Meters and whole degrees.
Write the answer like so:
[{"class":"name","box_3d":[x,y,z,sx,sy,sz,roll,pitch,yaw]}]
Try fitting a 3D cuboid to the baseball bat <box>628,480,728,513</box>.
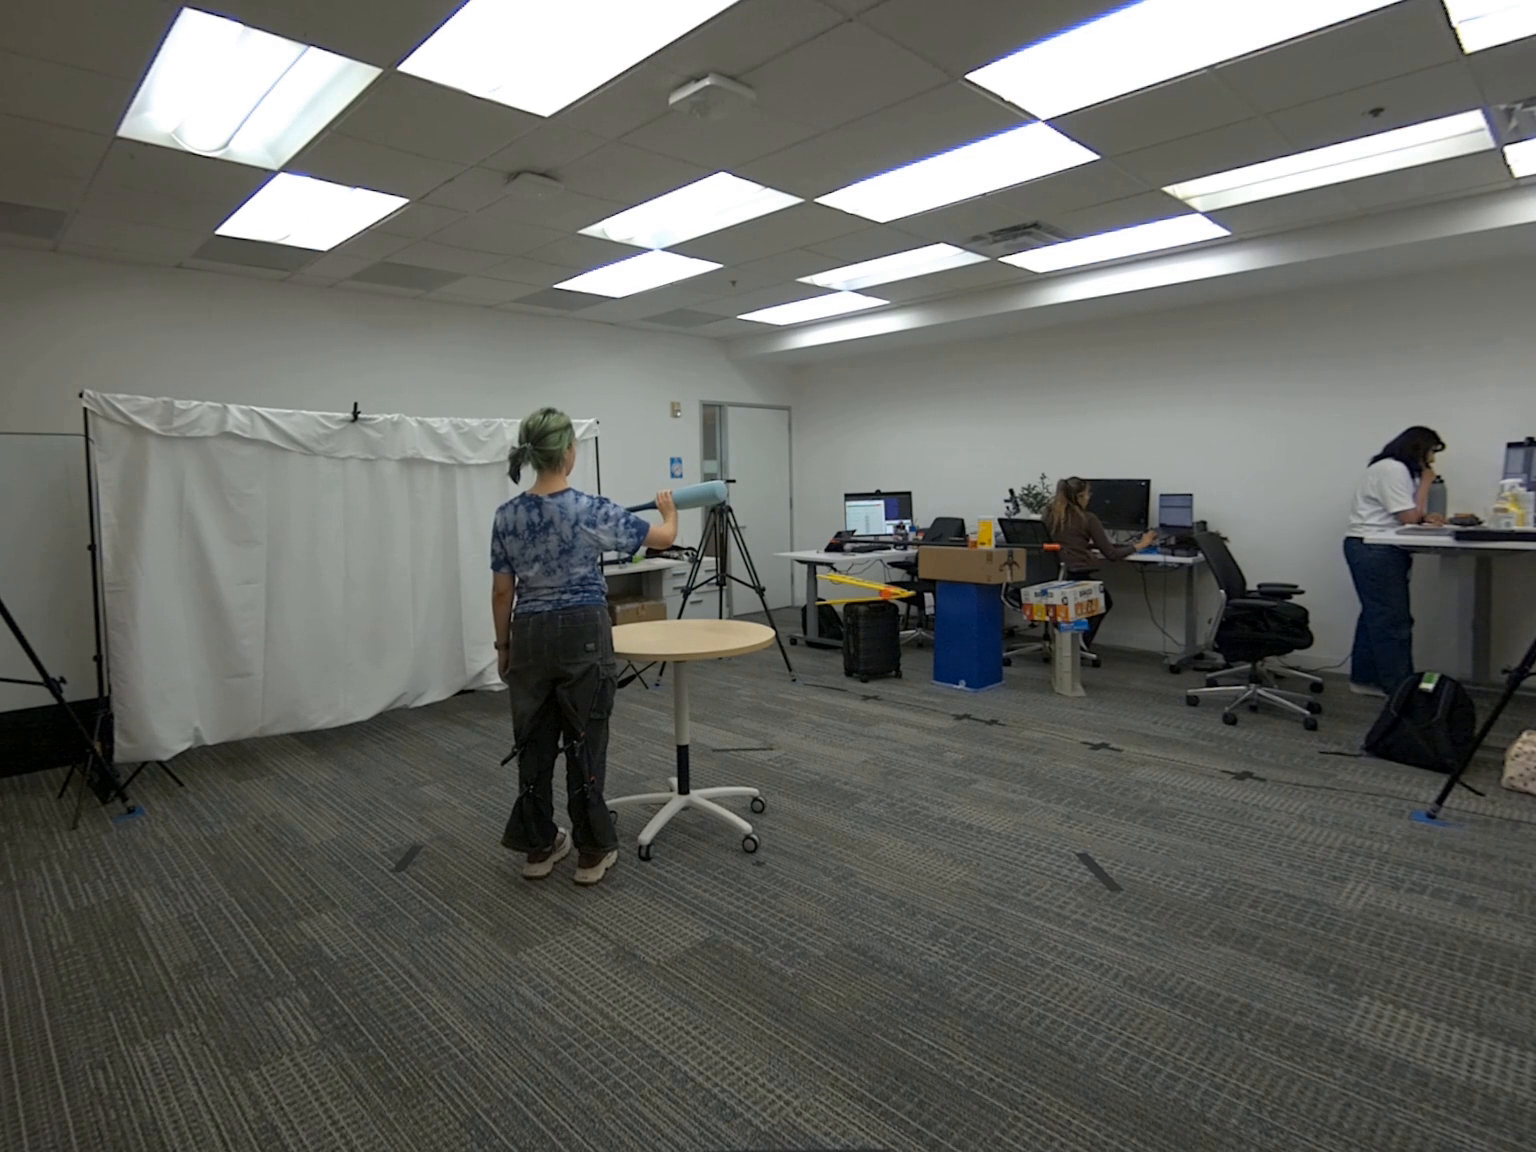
[{"class":"baseball bat","box_3d":[-0.403,-0.288,3.364,0.555,0.089,0.087,-8,0,35]}]
